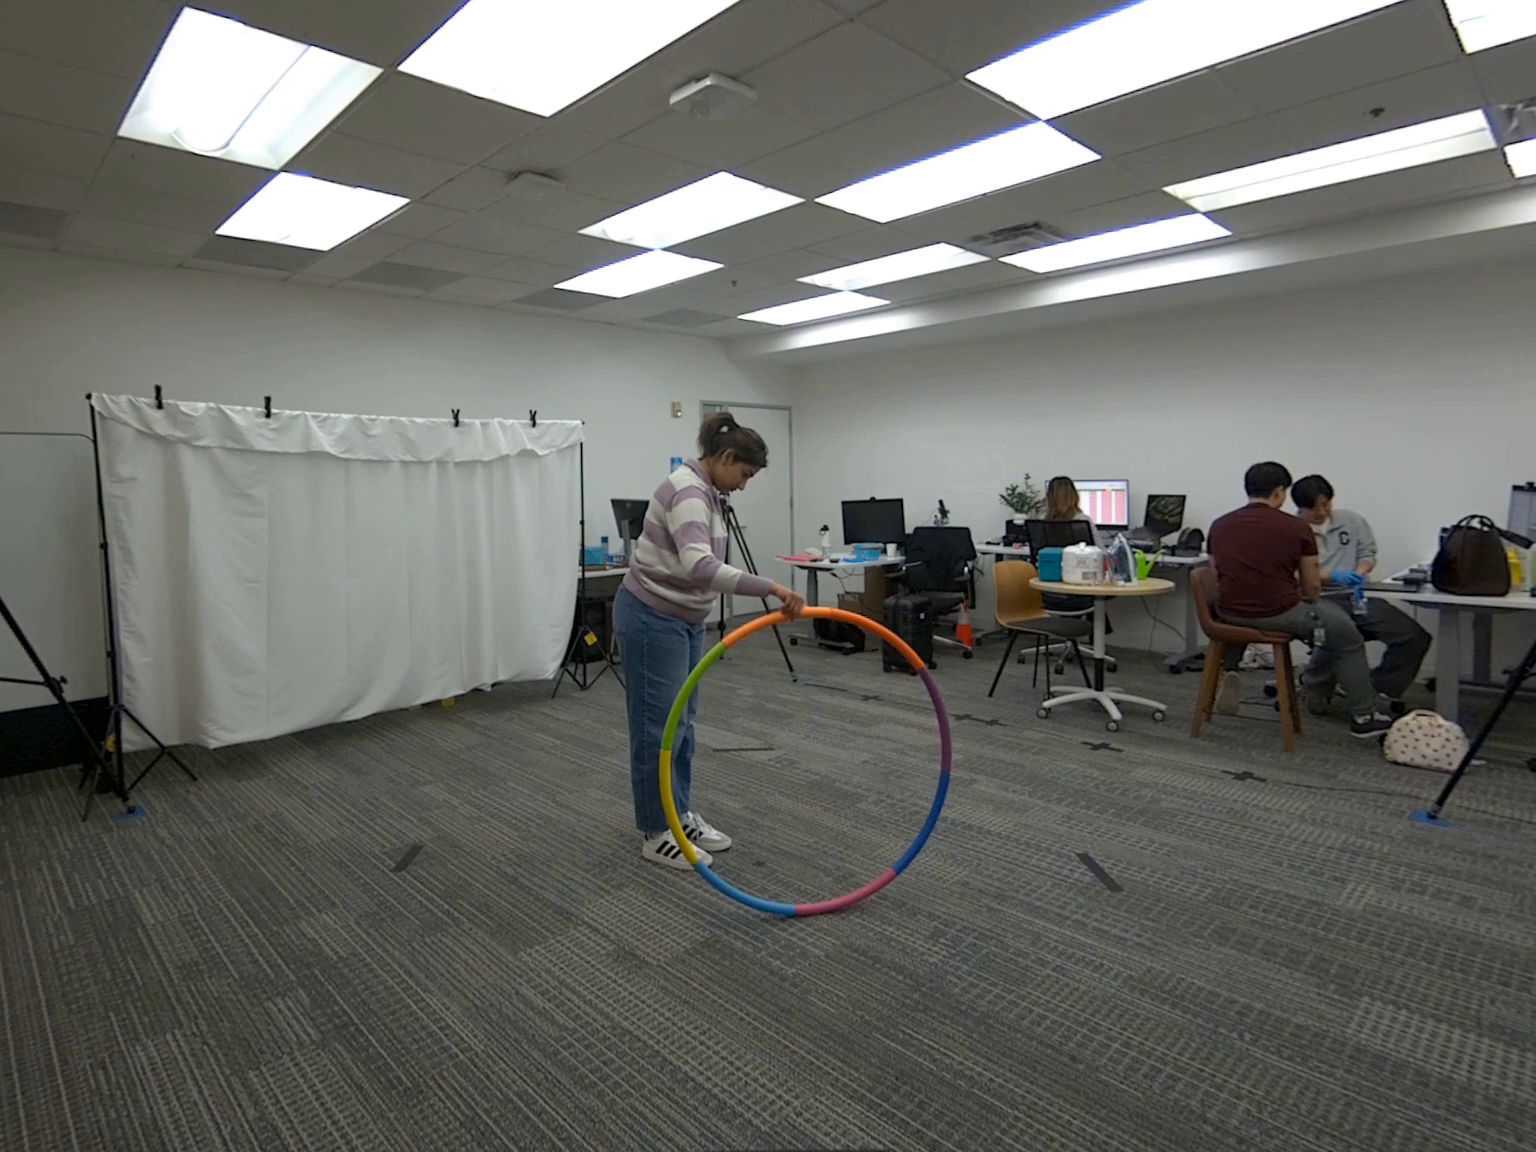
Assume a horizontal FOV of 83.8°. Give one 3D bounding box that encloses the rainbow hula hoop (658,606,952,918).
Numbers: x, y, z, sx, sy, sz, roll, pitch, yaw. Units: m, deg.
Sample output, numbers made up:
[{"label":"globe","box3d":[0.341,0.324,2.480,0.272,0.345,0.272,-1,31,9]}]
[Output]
[{"label":"rainbow hula hoop","box3d":[0.138,0.591,2.756,0.967,0.980,0.036,-2,-2,-13]}]
